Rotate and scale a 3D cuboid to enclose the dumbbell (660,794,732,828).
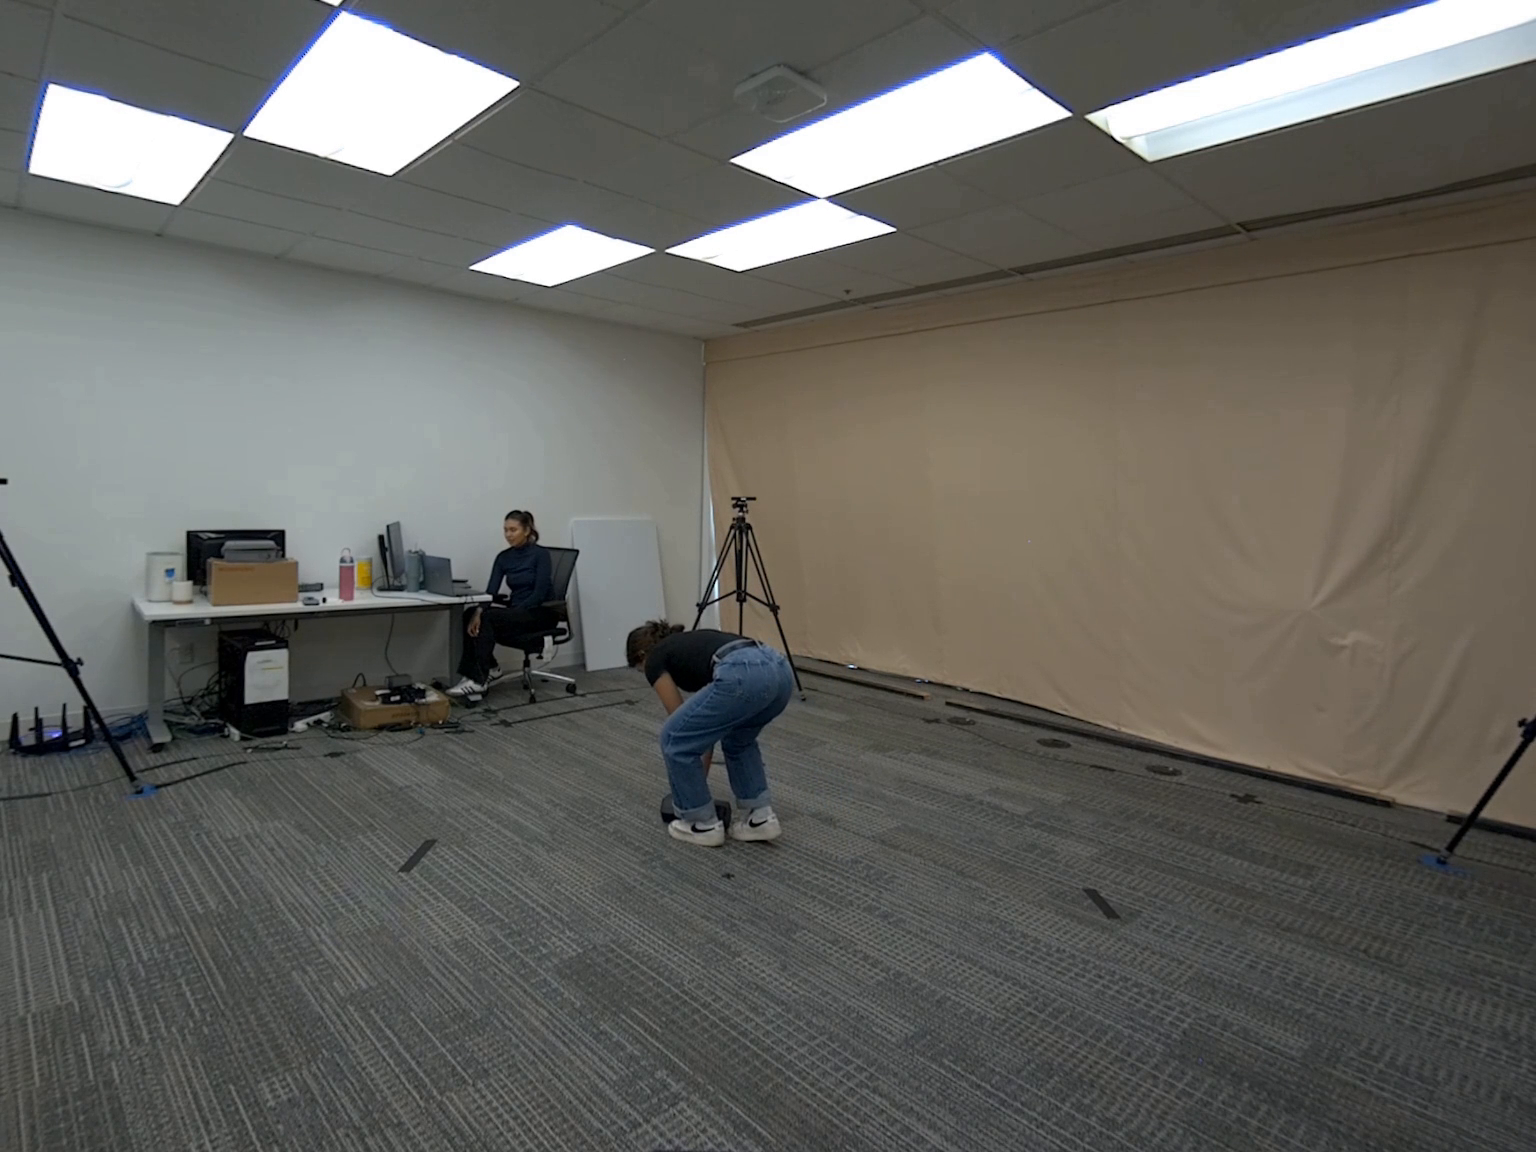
[{"bbox_3d":[-0.311,1.001,3.593,0.297,0.124,0.106,3,-26,14],"label":"dumbbell"}]
